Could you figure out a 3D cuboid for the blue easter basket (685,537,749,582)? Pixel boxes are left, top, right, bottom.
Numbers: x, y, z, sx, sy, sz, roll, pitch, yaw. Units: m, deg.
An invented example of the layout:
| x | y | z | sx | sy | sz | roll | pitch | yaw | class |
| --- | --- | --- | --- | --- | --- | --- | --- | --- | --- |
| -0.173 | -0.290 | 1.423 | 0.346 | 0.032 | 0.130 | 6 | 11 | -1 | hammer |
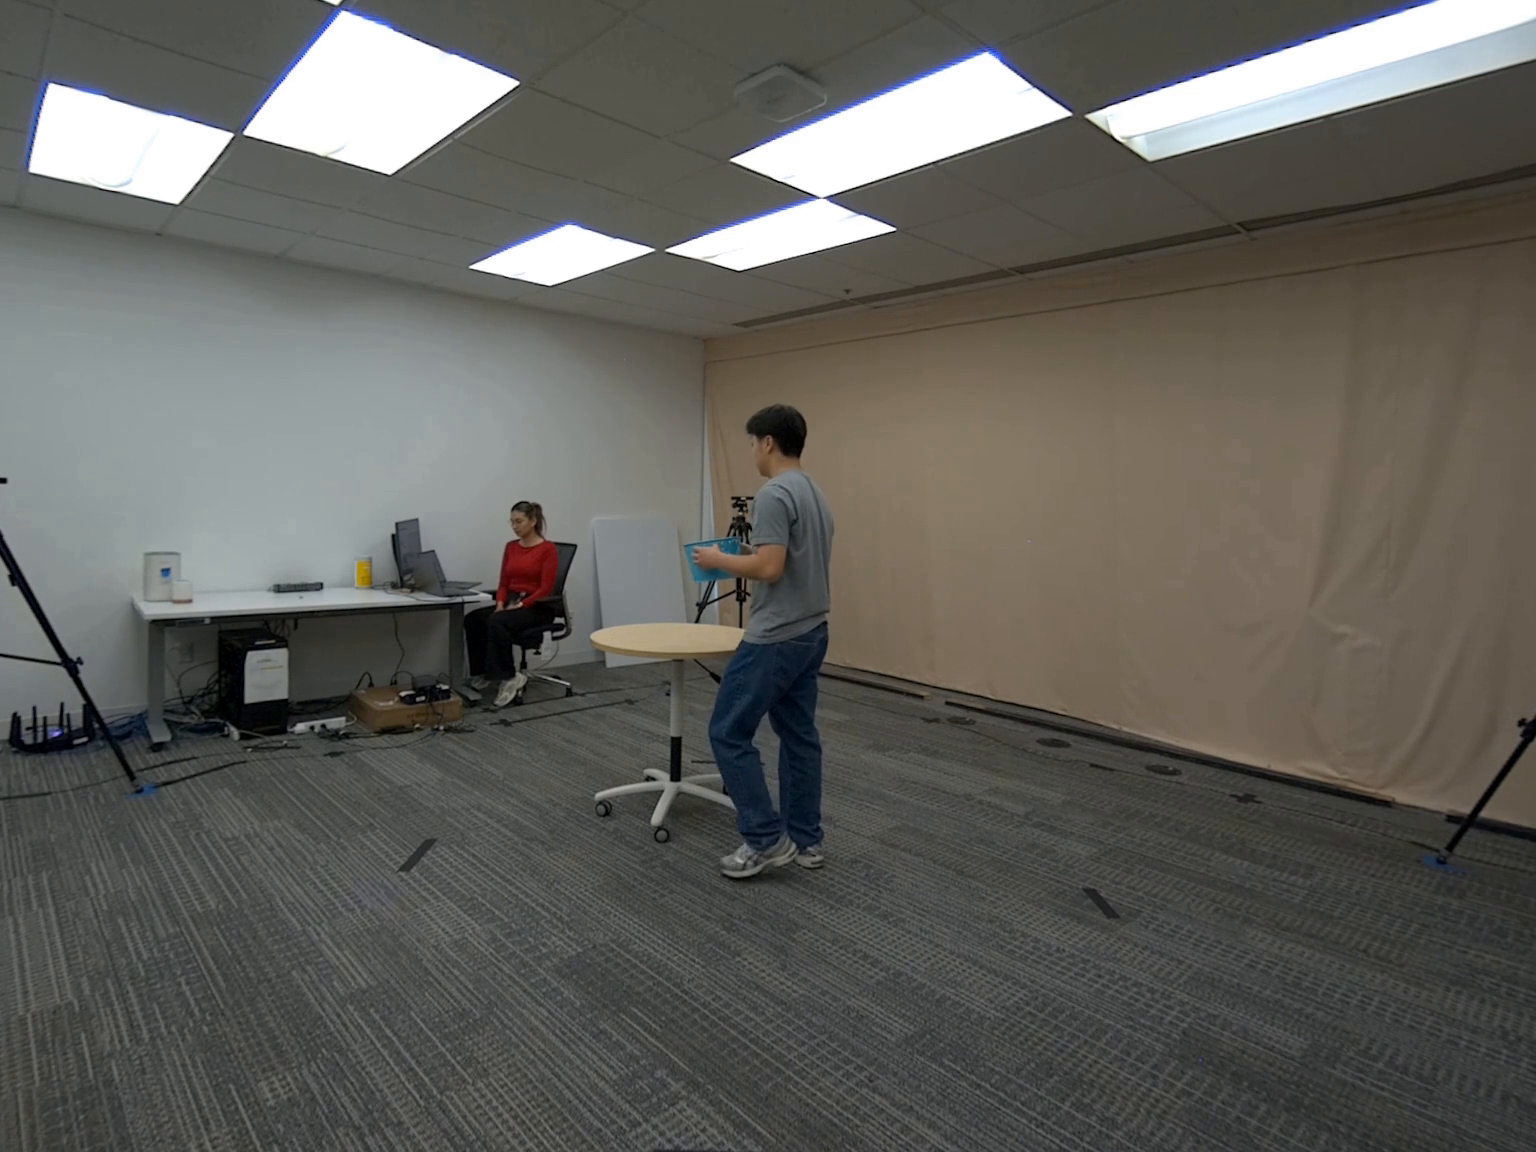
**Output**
| x | y | z | sx | sy | sz | roll | pitch | yaw | class |
| --- | --- | --- | --- | --- | --- | --- | --- | --- | --- |
| -0.197 | -0.054 | 3.267 | 0.243 | 0.156 | 0.244 | -7 | 2 | -1 | blue easter basket |
